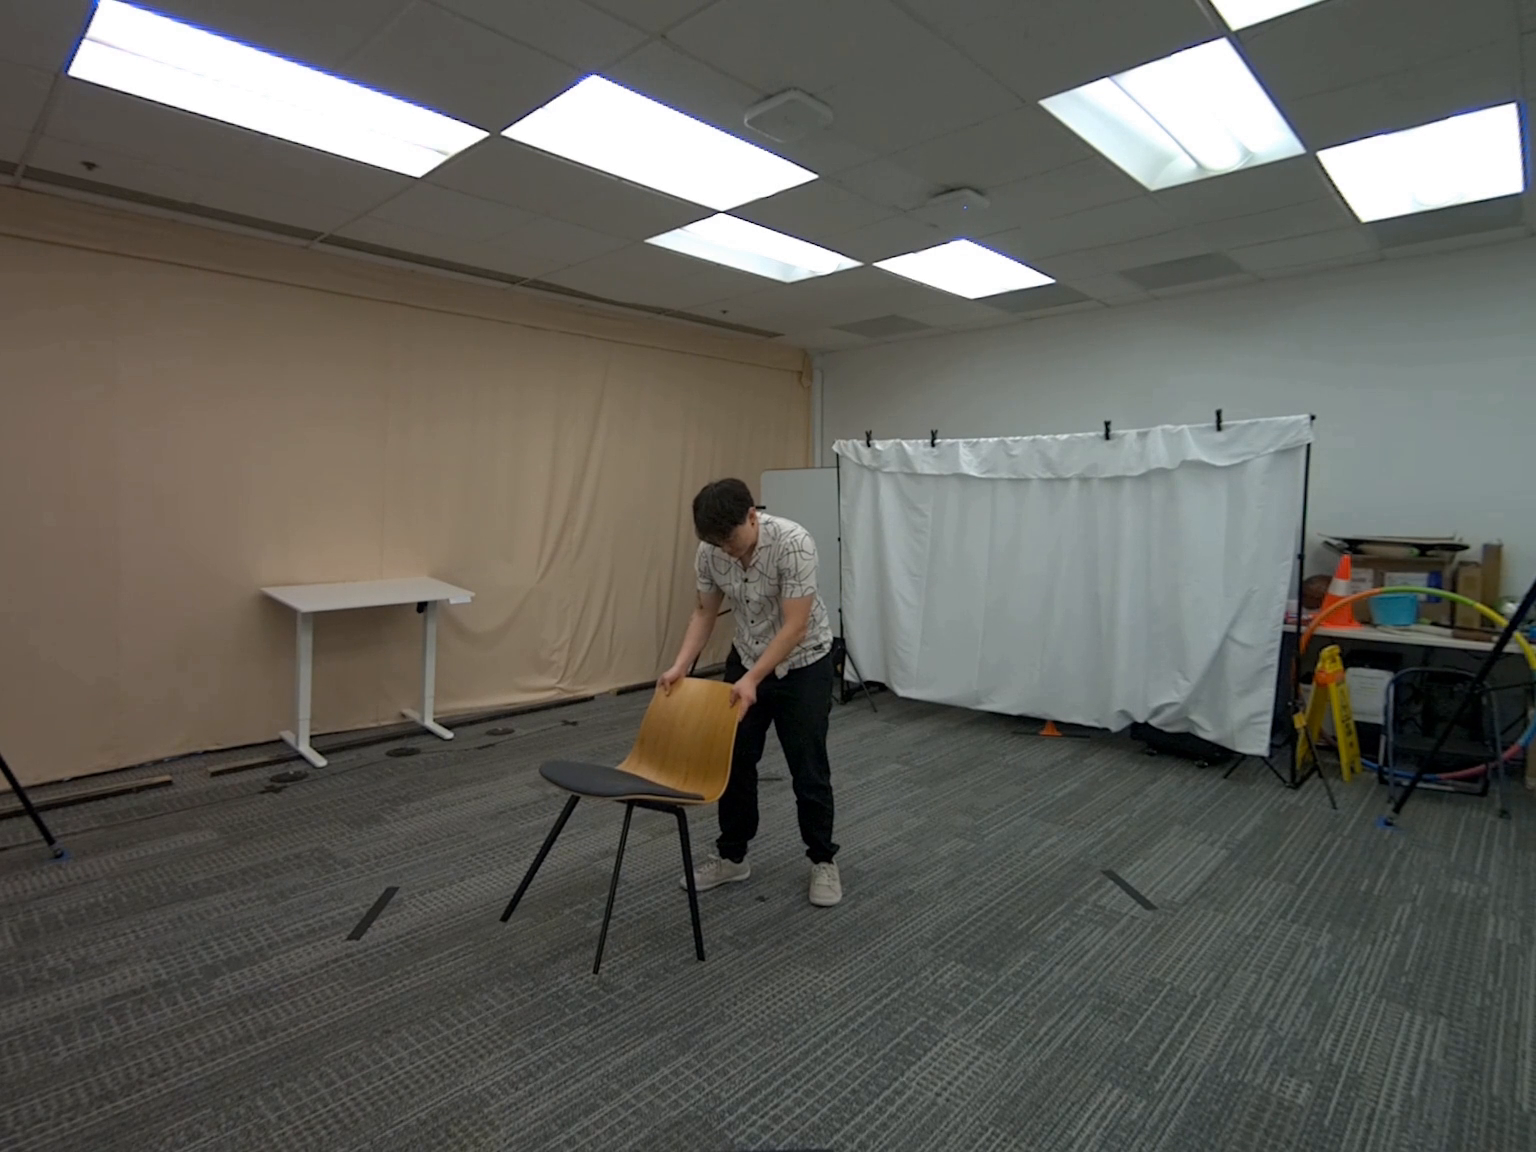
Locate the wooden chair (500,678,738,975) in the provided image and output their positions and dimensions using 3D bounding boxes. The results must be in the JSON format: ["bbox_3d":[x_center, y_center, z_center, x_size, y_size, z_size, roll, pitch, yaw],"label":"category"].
[{"bbox_3d":[-0.426,0.700,2.626,0.494,0.881,0.504,3,-17,41],"label":"wooden chair"}]
